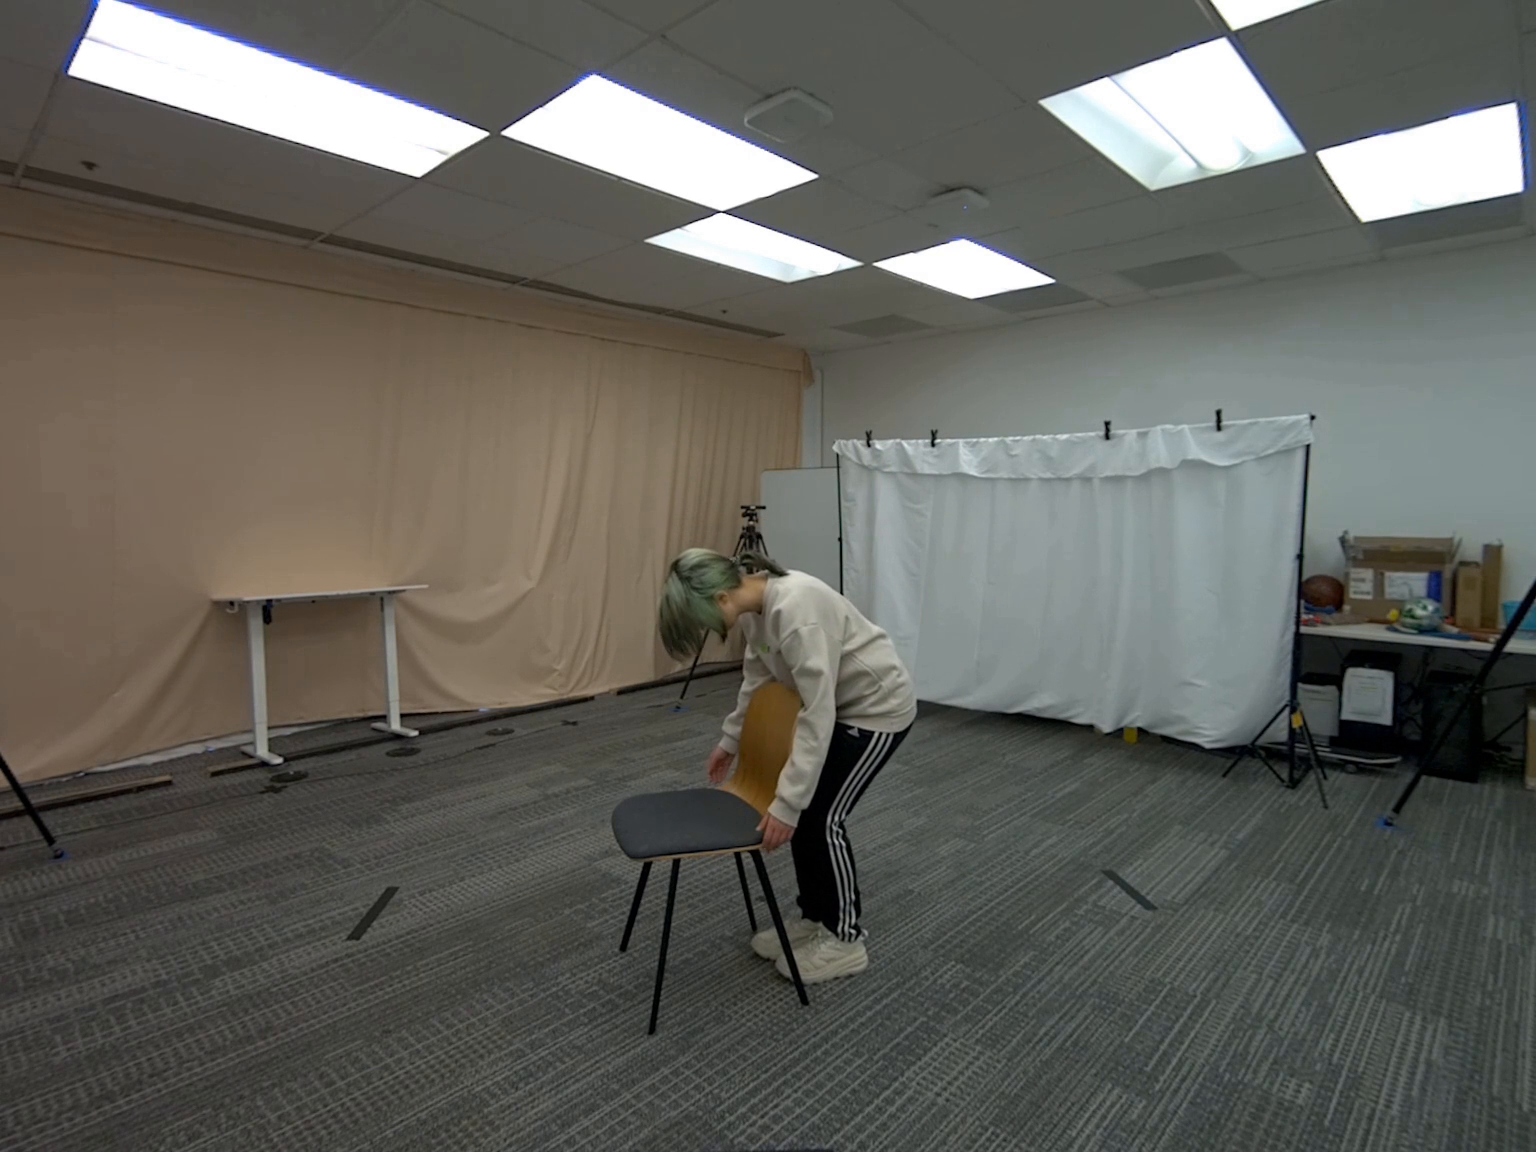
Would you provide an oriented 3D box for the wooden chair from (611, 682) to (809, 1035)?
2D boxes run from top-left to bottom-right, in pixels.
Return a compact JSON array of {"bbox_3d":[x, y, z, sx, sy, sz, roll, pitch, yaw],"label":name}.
[{"bbox_3d":[-0.188,0.765,2.465,0.513,0.876,0.488,3,2,-19],"label":"wooden chair"}]
